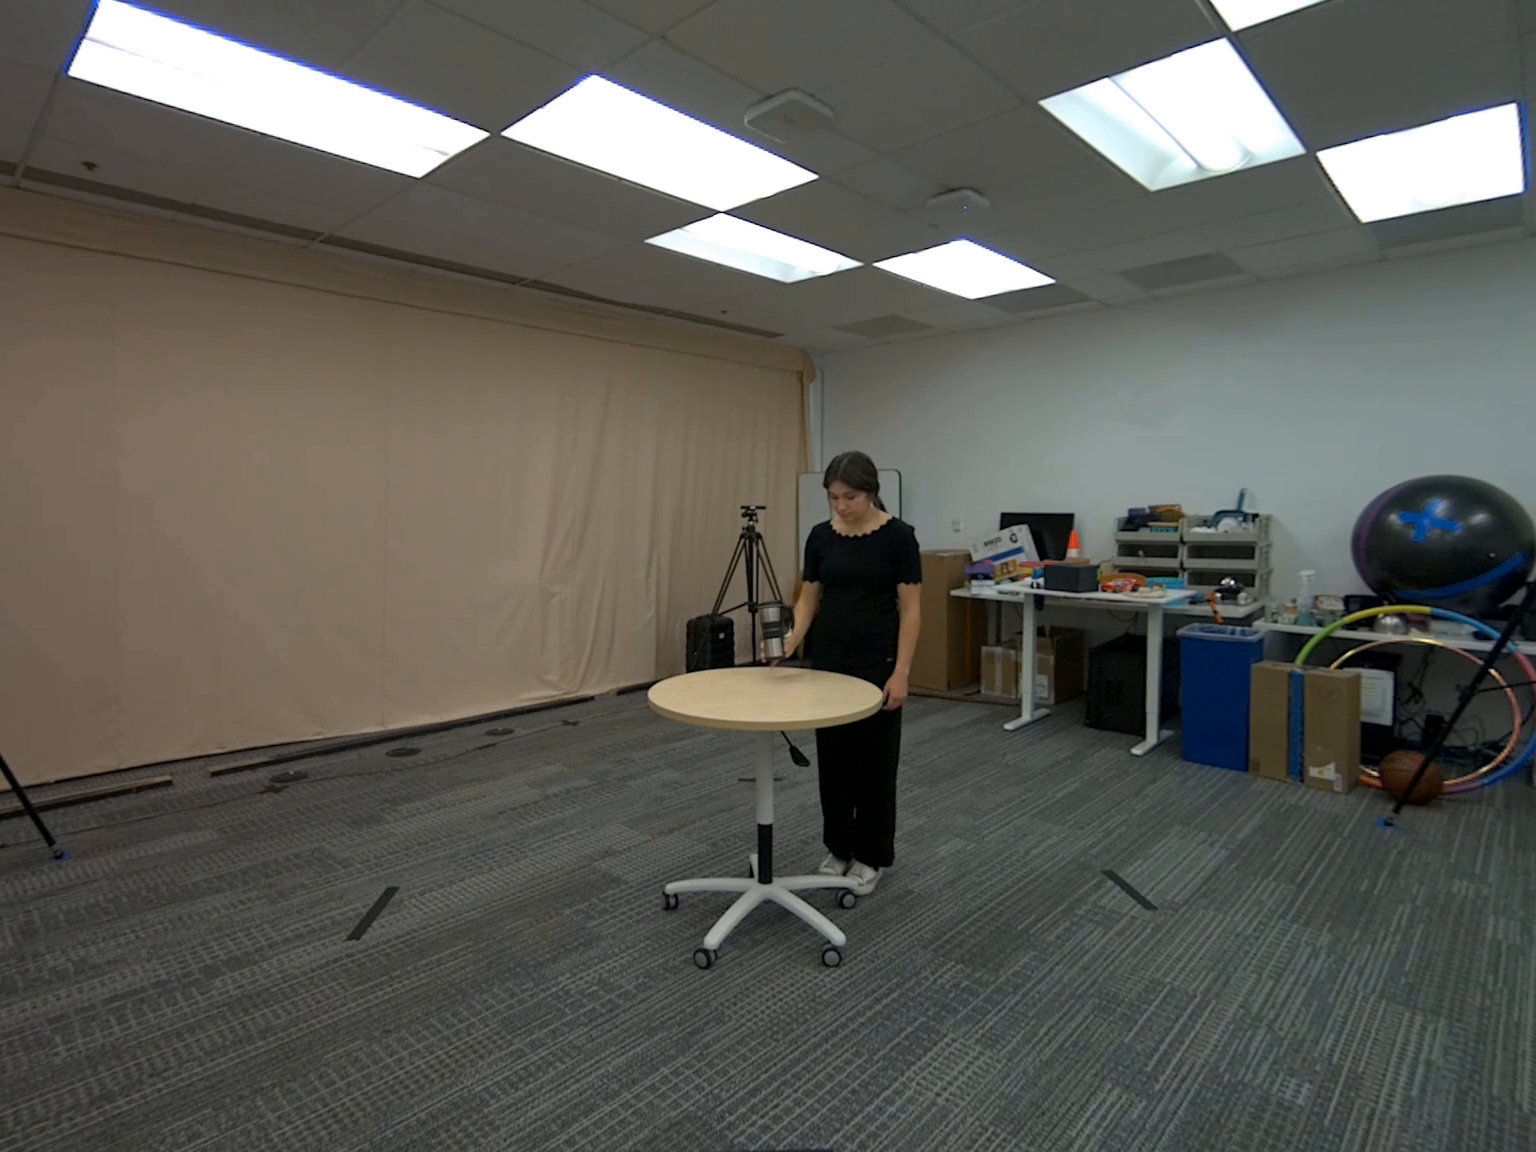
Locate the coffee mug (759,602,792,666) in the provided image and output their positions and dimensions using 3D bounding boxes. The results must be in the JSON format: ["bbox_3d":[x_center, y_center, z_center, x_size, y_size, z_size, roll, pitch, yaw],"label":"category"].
[{"bbox_3d":[0.042,0.193,2.923,0.125,0.204,0.085,-10,-6,36],"label":"coffee mug"}]
